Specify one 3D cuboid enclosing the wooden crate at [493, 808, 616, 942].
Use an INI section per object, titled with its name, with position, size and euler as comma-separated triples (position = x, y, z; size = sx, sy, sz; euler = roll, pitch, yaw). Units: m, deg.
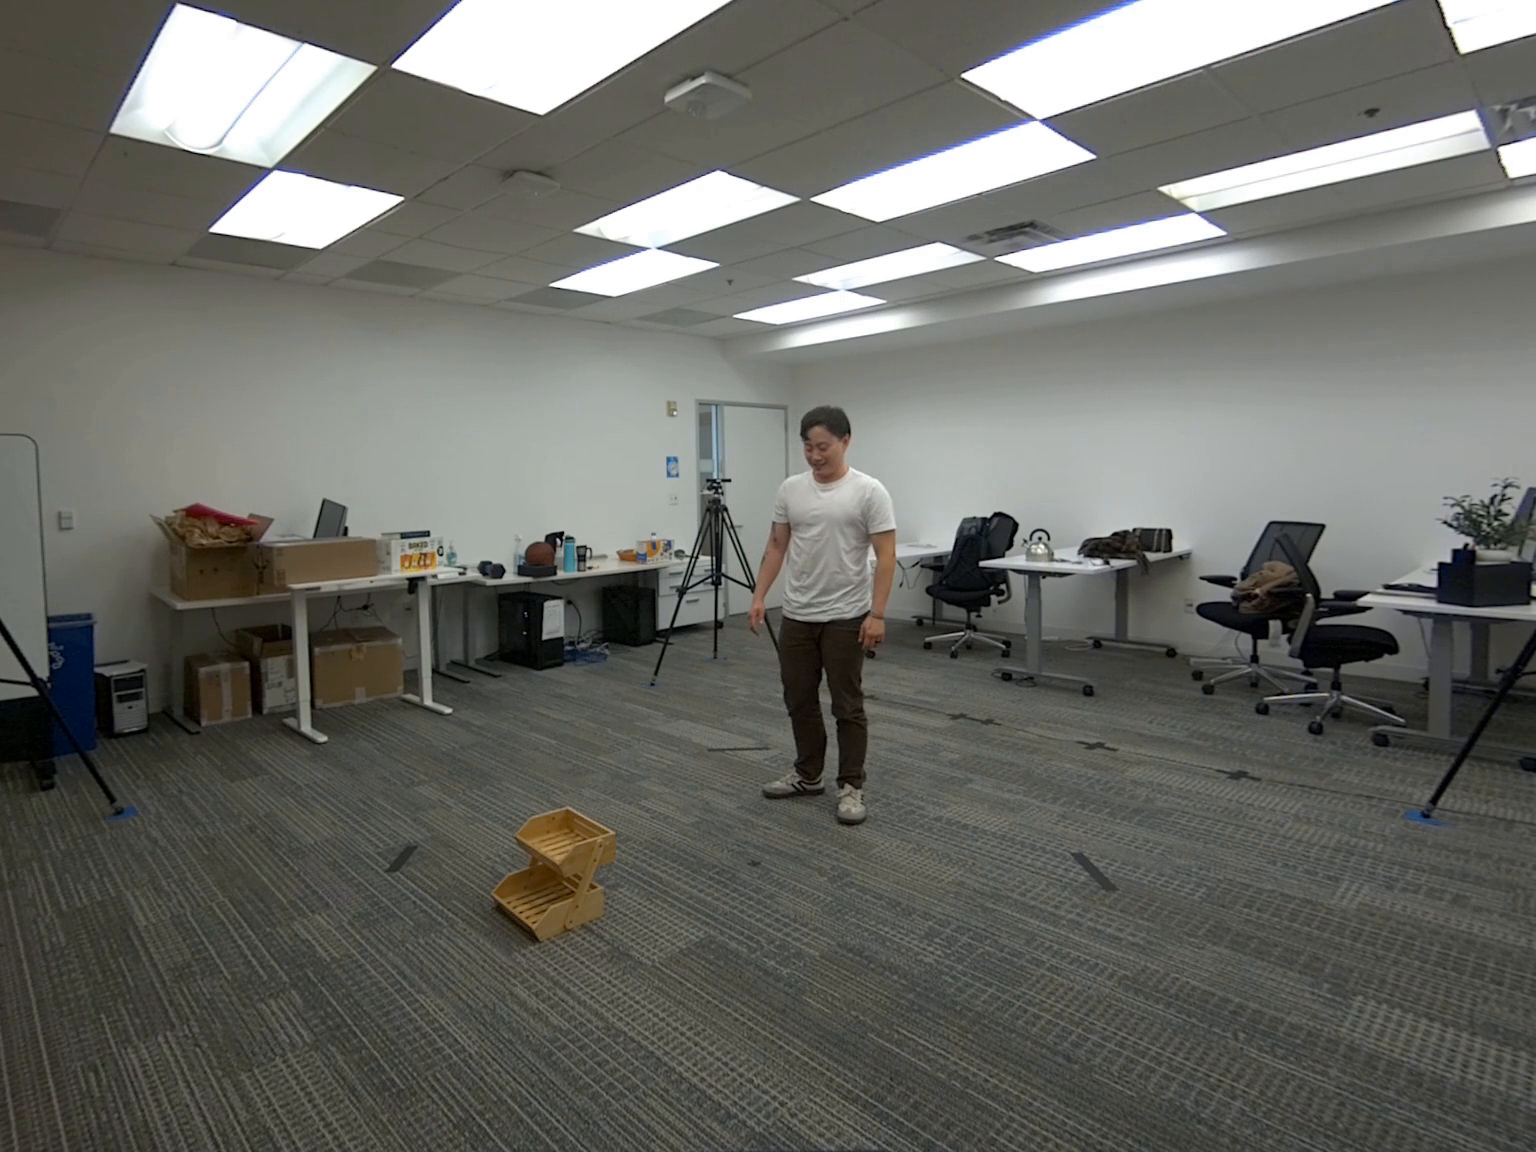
[wooden crate]
position = -0.706, 0.961, 2.794
size = 0.294, 0.272, 0.334
euler = -5, 6, -42
